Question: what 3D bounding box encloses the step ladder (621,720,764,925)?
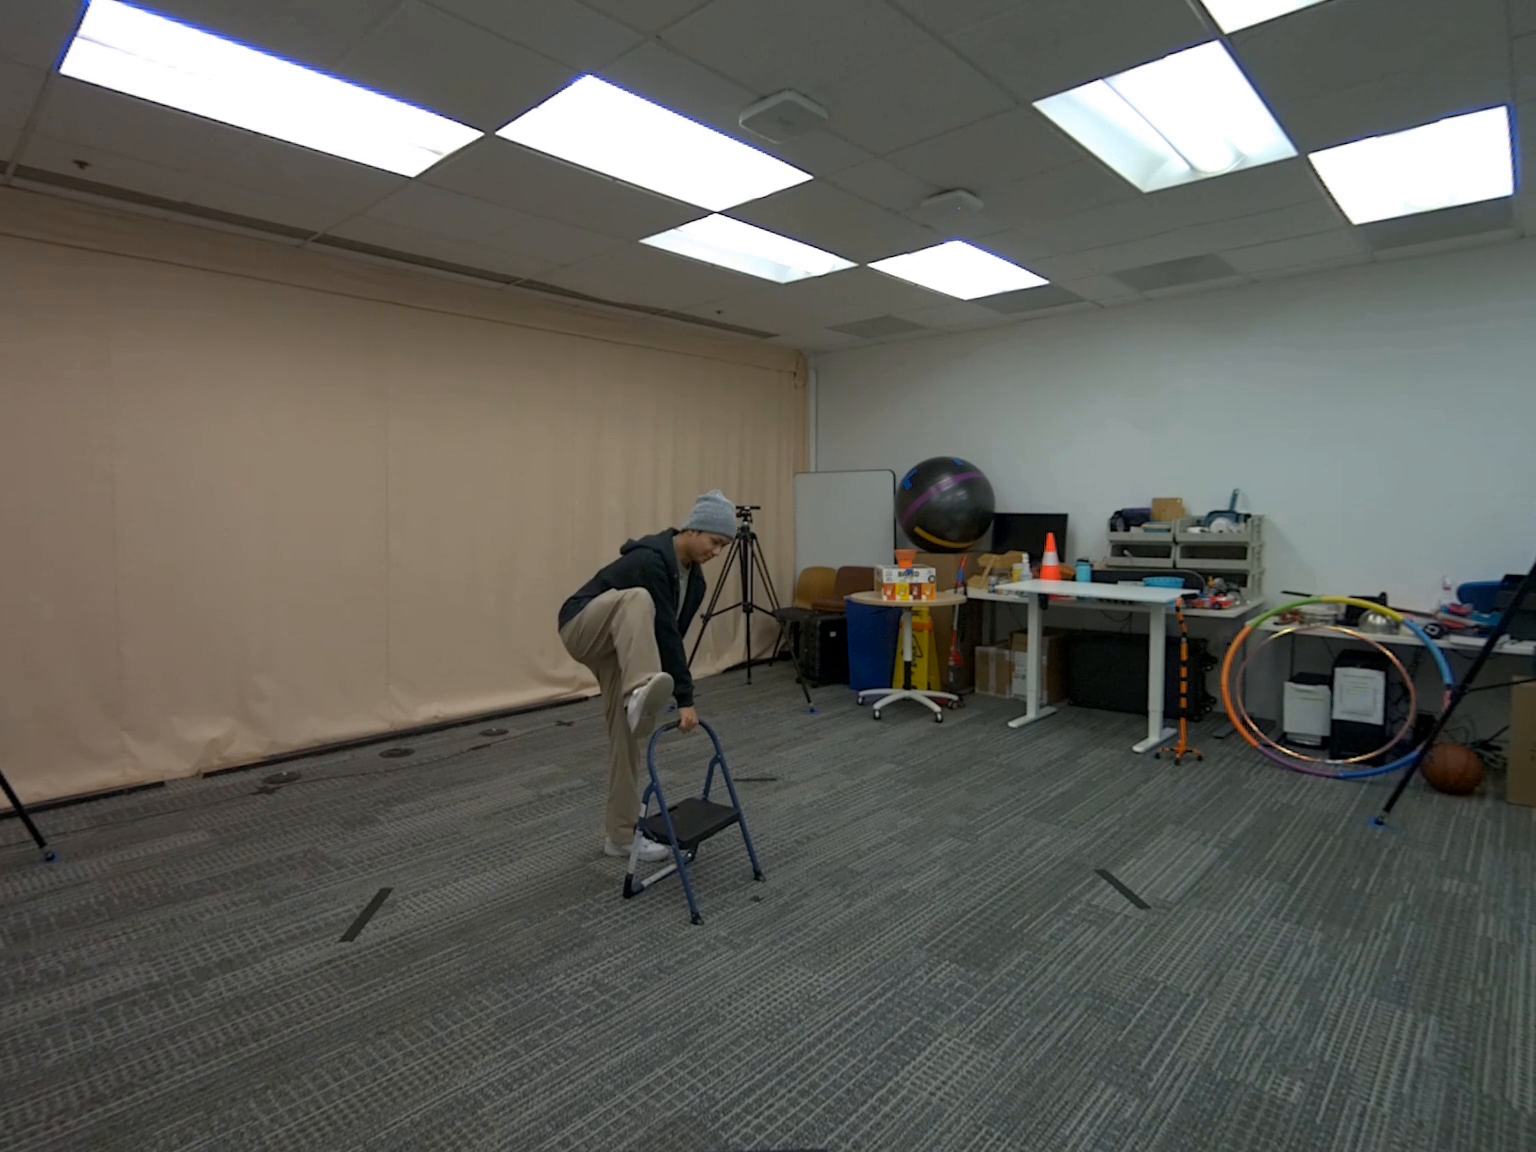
[{"bbox_3d":[-0.265,0.837,3.051,0.360,0.605,0.418,2,4,32],"label":"step ladder"}]
